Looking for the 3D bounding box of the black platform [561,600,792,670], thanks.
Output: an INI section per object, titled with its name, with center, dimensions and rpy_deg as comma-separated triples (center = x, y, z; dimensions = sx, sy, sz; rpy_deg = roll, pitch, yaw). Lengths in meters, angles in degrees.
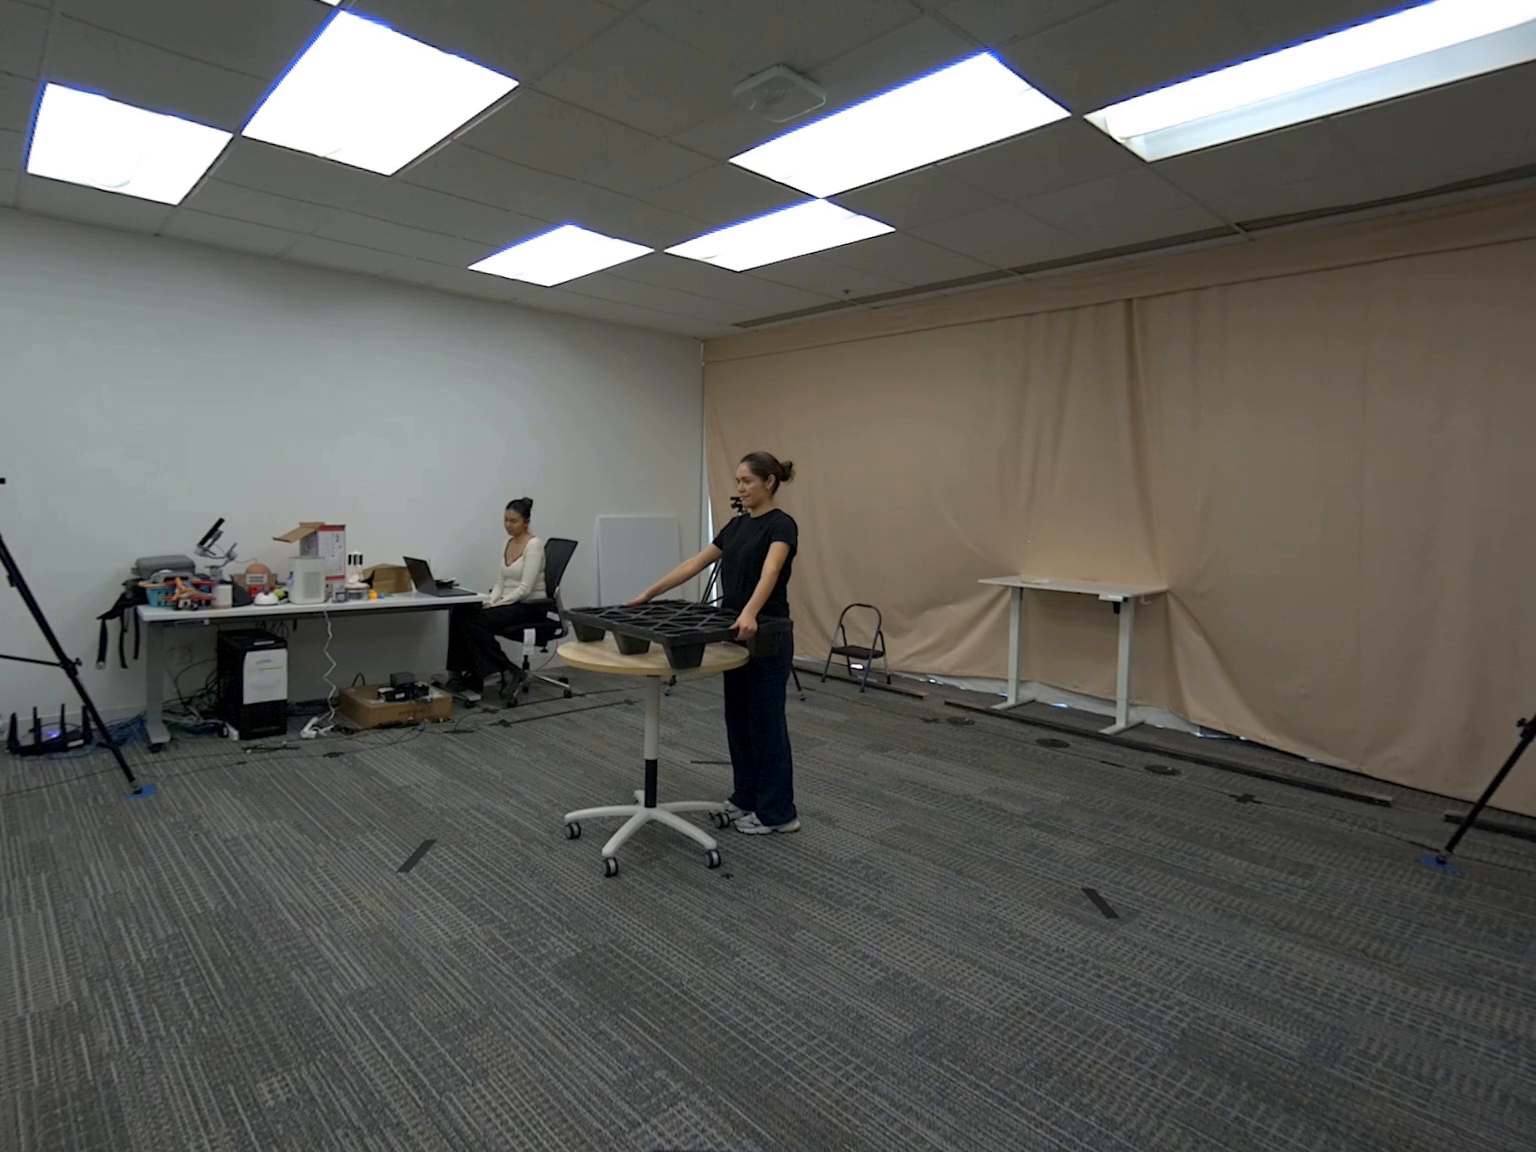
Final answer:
[black platform]
center = -0.389, 0.225, 3.380
dimensions = 0.592, 0.143, 0.826
rpy_deg = -4, 7, -40
